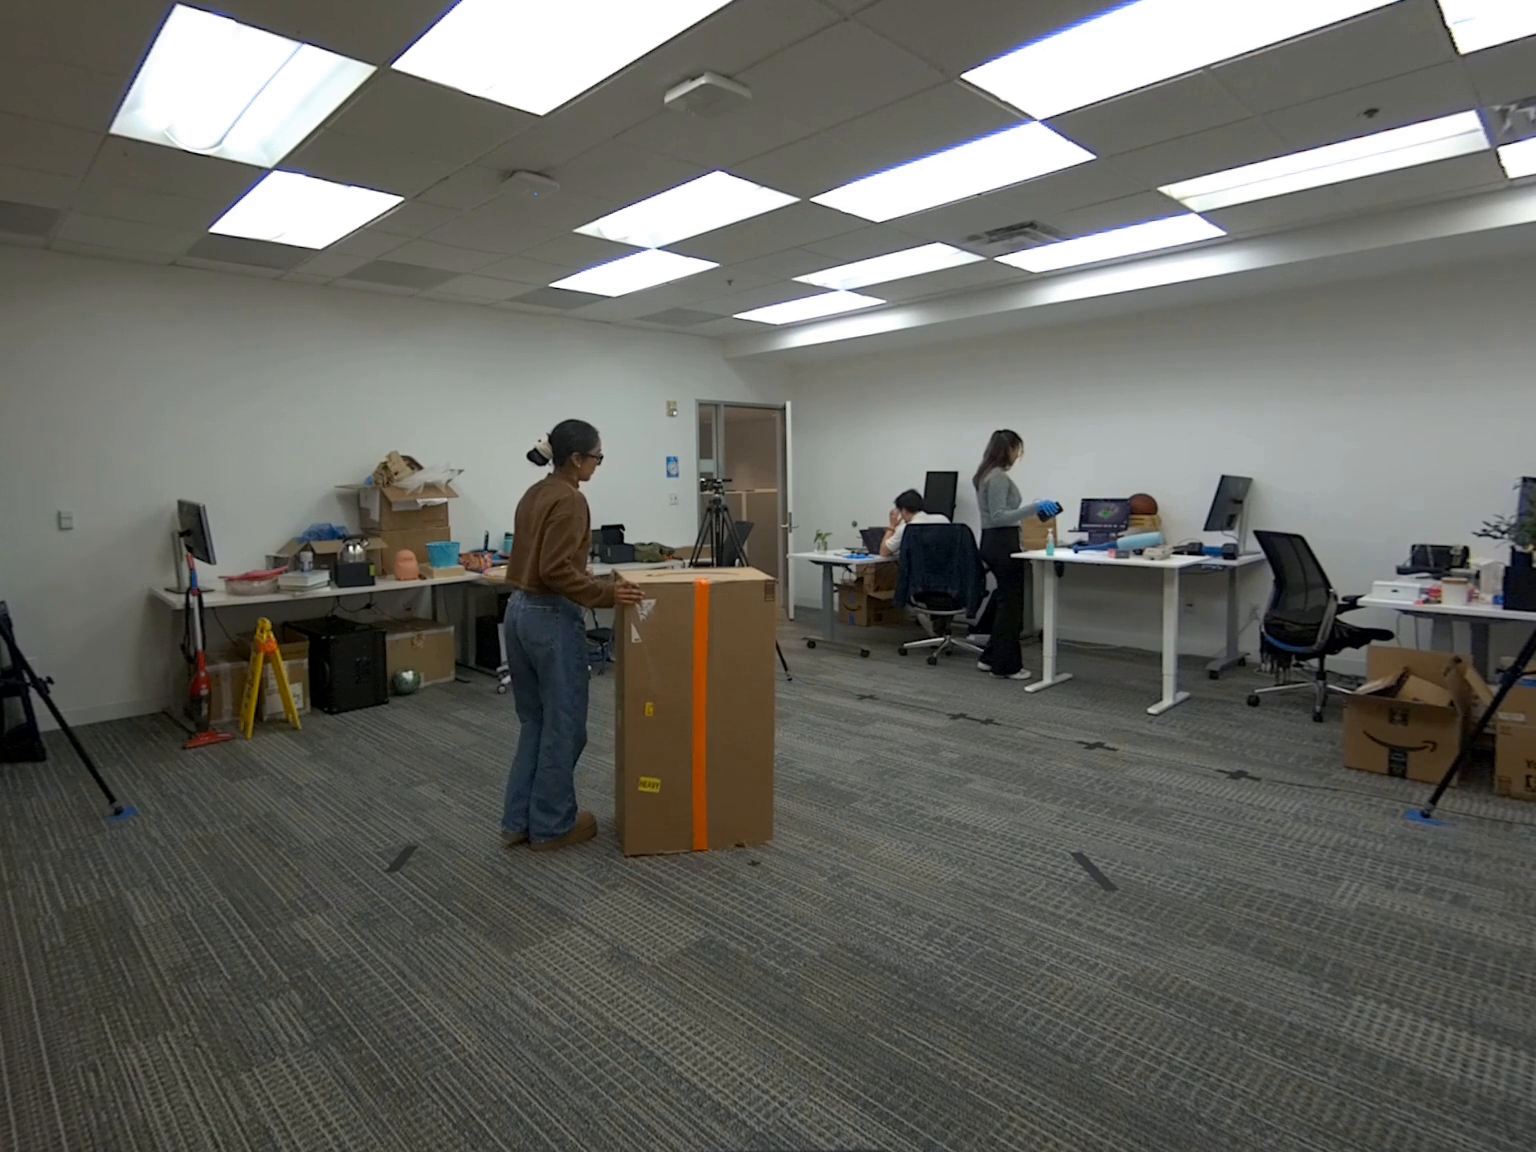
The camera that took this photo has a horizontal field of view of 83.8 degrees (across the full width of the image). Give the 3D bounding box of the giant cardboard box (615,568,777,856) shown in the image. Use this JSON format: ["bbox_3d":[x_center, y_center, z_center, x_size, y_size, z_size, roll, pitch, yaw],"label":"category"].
[{"bbox_3d":[-0.302,0.501,3.390,0.570,1.022,0.433,0,4,-13],"label":"giant cardboard box"}]
